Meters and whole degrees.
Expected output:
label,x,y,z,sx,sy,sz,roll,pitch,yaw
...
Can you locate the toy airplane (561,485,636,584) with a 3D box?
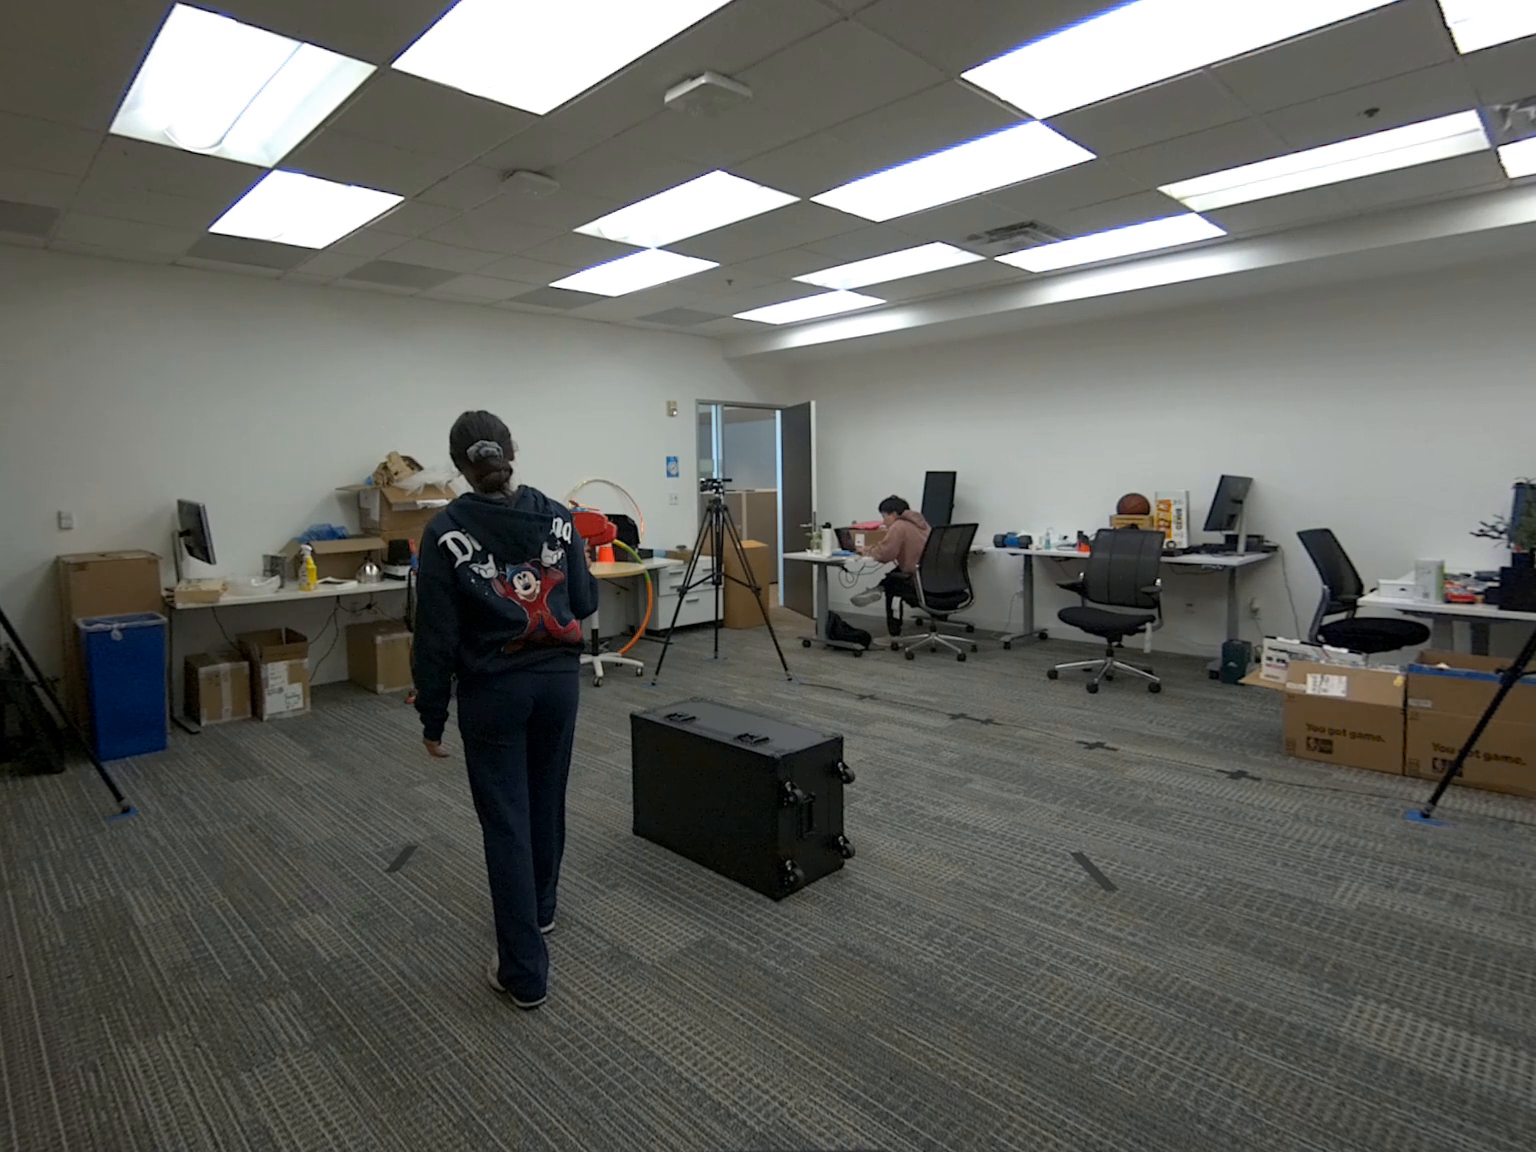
label,x,y,z,sx,sy,sz,roll,pitch,yaw
toy airplane,-0.618,-0.118,2.862,0.251,0.268,0.151,-24,-38,0
